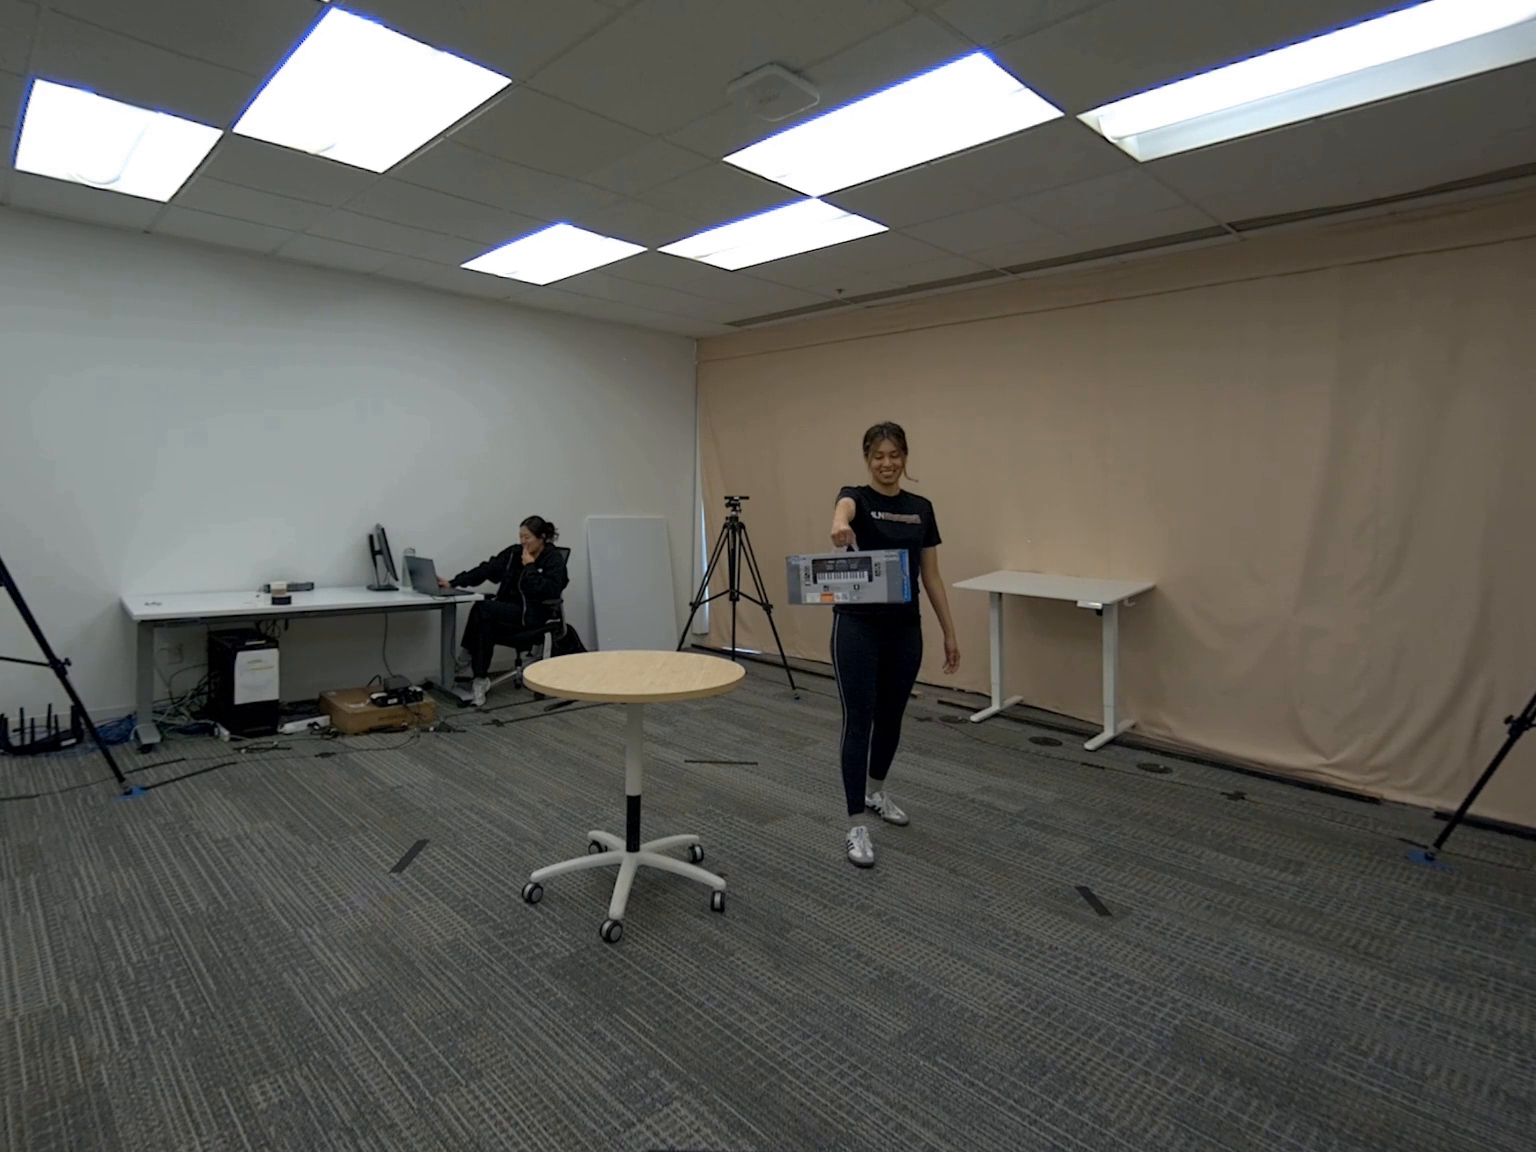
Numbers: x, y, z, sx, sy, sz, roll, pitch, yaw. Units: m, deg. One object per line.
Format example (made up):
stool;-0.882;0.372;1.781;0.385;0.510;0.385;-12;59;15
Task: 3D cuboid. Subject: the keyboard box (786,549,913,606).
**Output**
keyboard box;0.260;0.010;2.850;0.446;0.176;0.058;-2;0;35
